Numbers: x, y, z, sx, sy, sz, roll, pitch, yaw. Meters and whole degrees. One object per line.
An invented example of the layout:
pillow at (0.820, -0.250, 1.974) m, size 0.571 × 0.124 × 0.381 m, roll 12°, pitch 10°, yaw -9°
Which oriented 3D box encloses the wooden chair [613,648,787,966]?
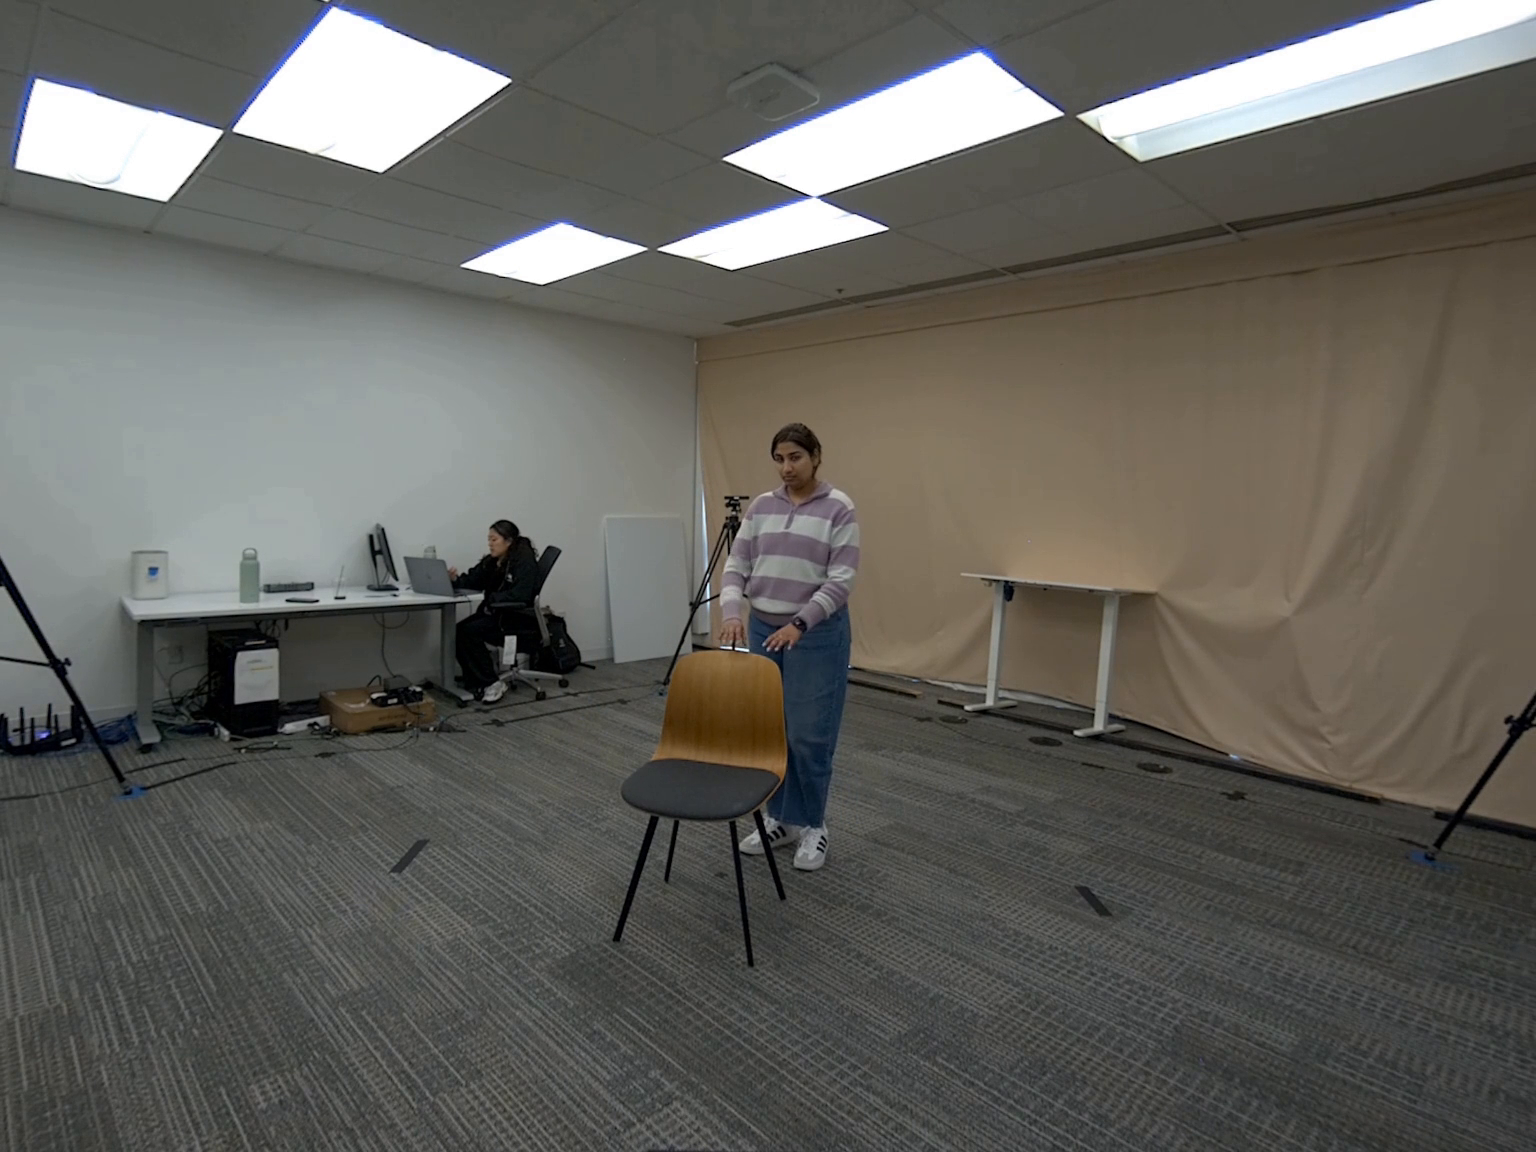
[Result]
wooden chair at (-0.208, 0.710, 2.734) m, size 0.484 × 0.878 × 0.516 m, roll 2°, pitch 0°, yaw 15°
